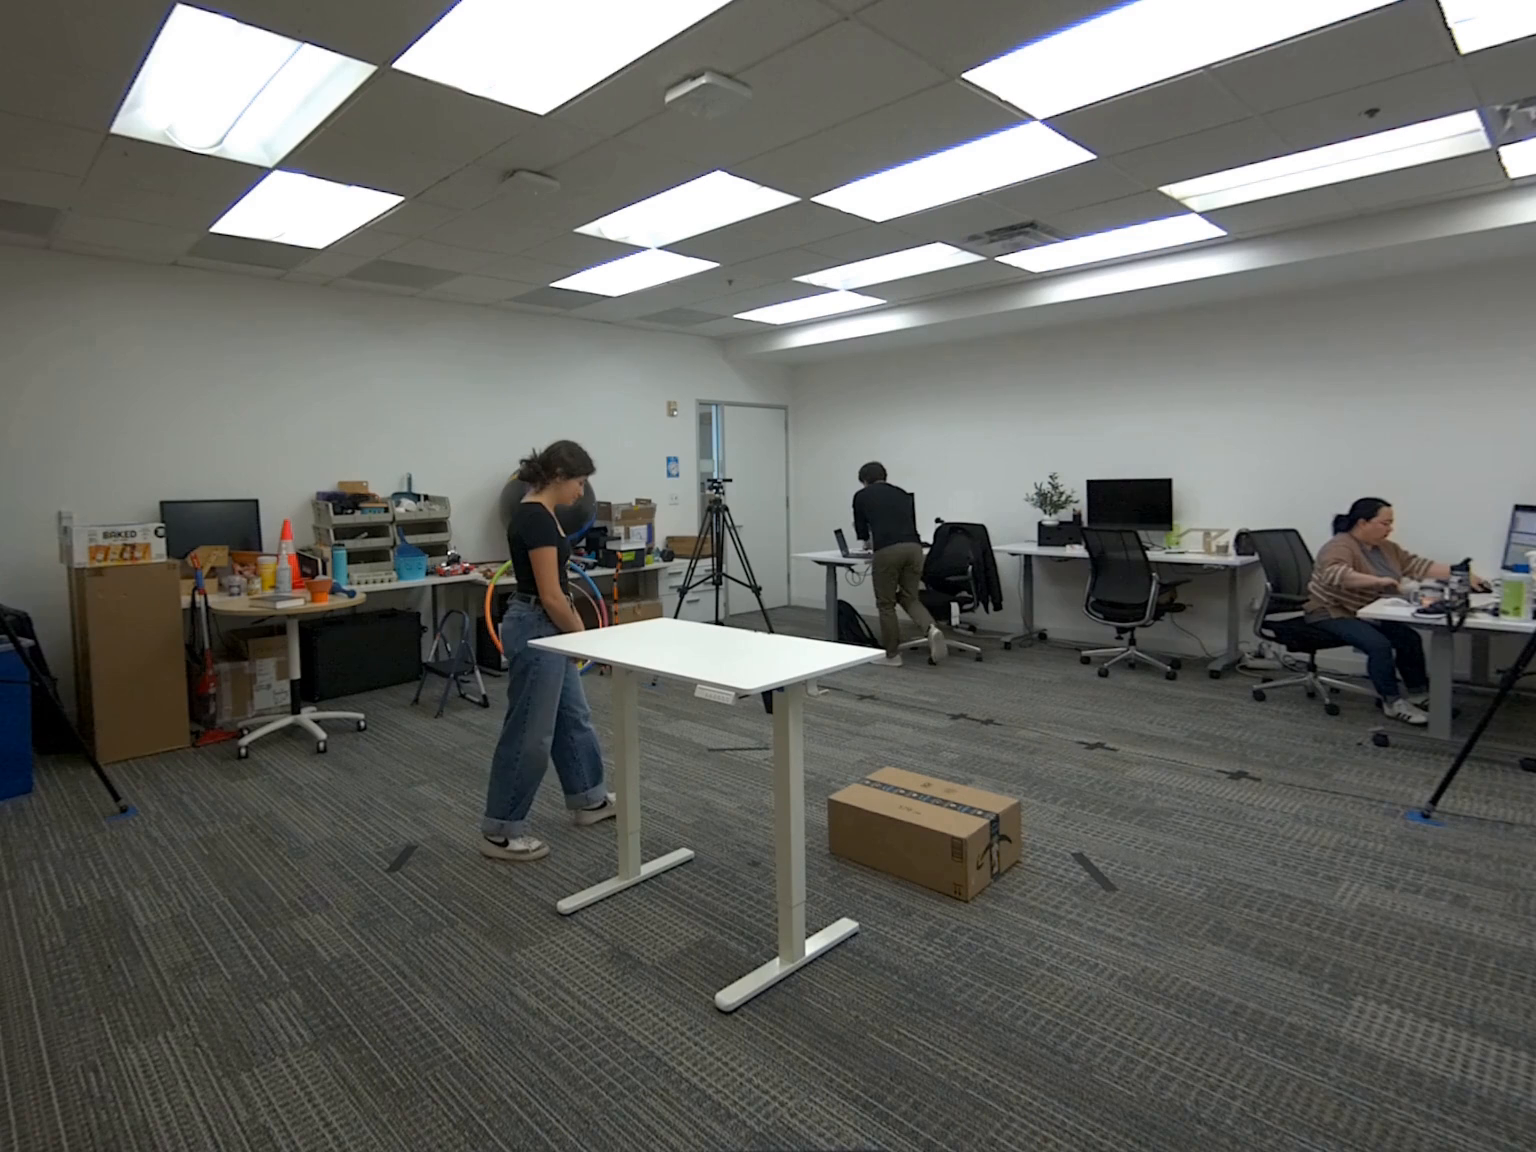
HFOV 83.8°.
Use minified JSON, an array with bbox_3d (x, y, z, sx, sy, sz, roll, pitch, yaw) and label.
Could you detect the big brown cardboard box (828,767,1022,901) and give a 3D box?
[{"bbox_3d":[0.575,0.920,3.117,0.607,0.232,0.407,5,10,42],"label":"big brown cardboard box"}]
